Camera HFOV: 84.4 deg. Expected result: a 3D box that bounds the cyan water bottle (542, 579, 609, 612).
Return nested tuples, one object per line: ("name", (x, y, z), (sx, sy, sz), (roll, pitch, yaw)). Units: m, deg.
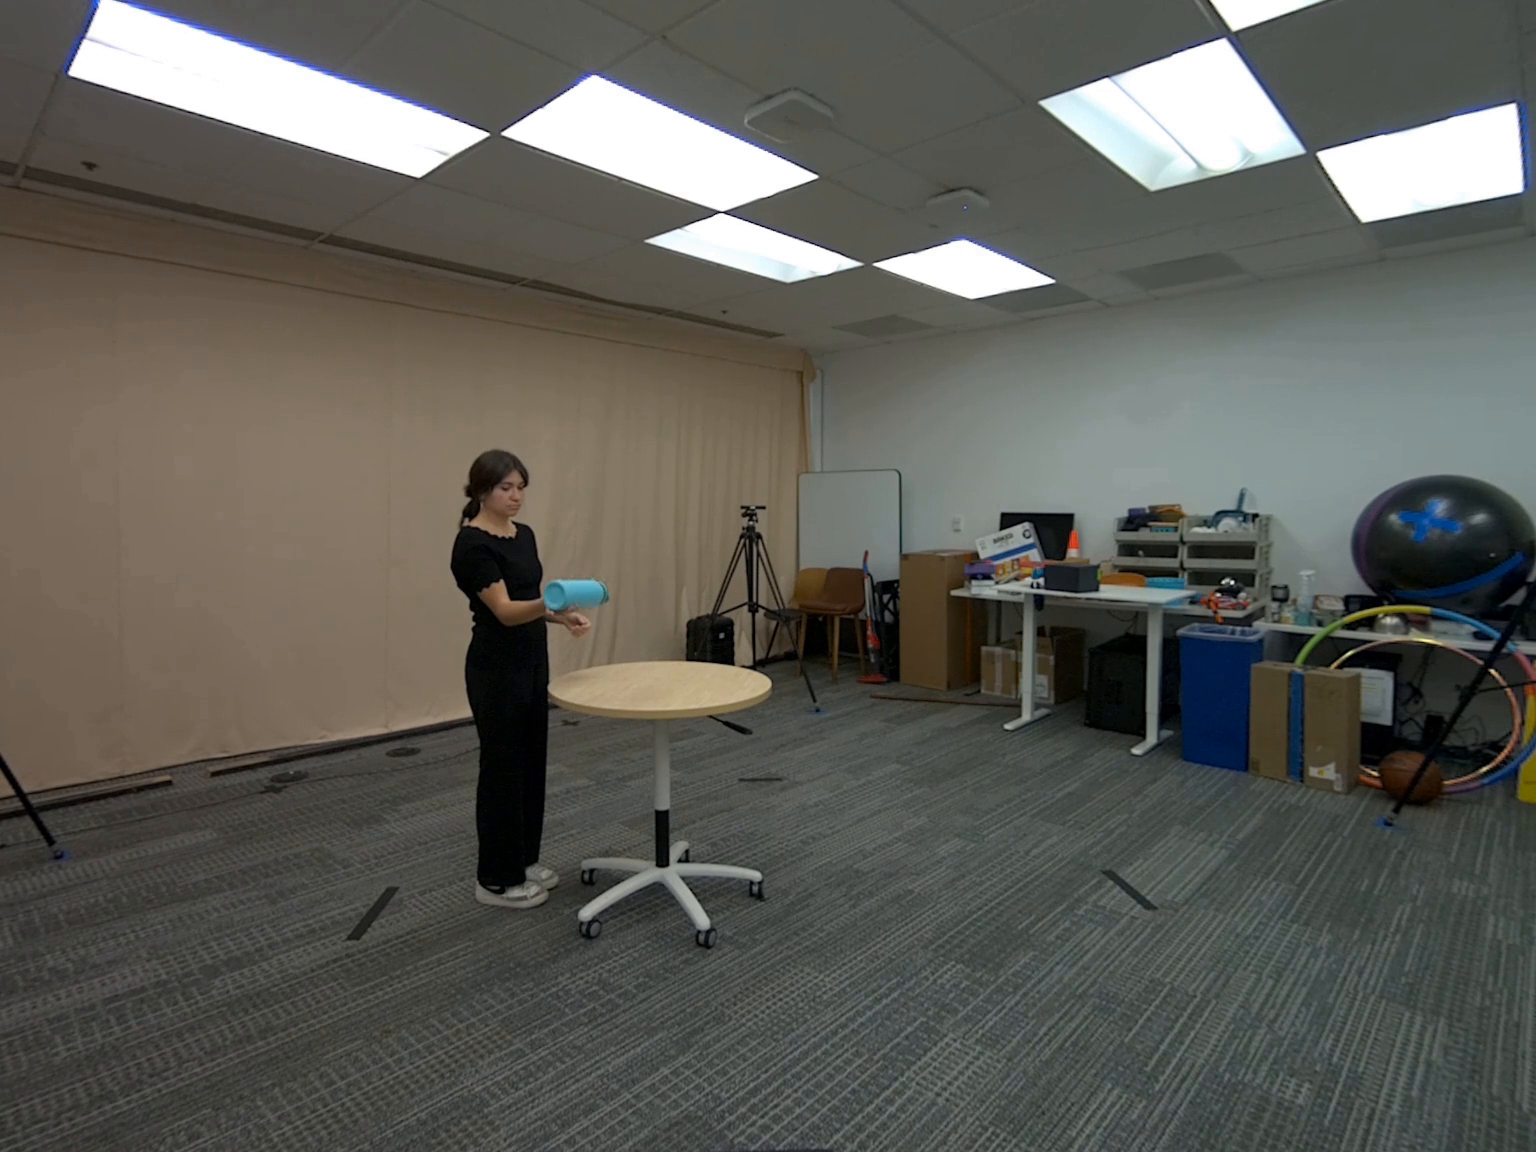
("cyan water bottle", (-0.600, 0.060, 2.662), (0.094, 0.092, 0.277), (1, 1, 19))
